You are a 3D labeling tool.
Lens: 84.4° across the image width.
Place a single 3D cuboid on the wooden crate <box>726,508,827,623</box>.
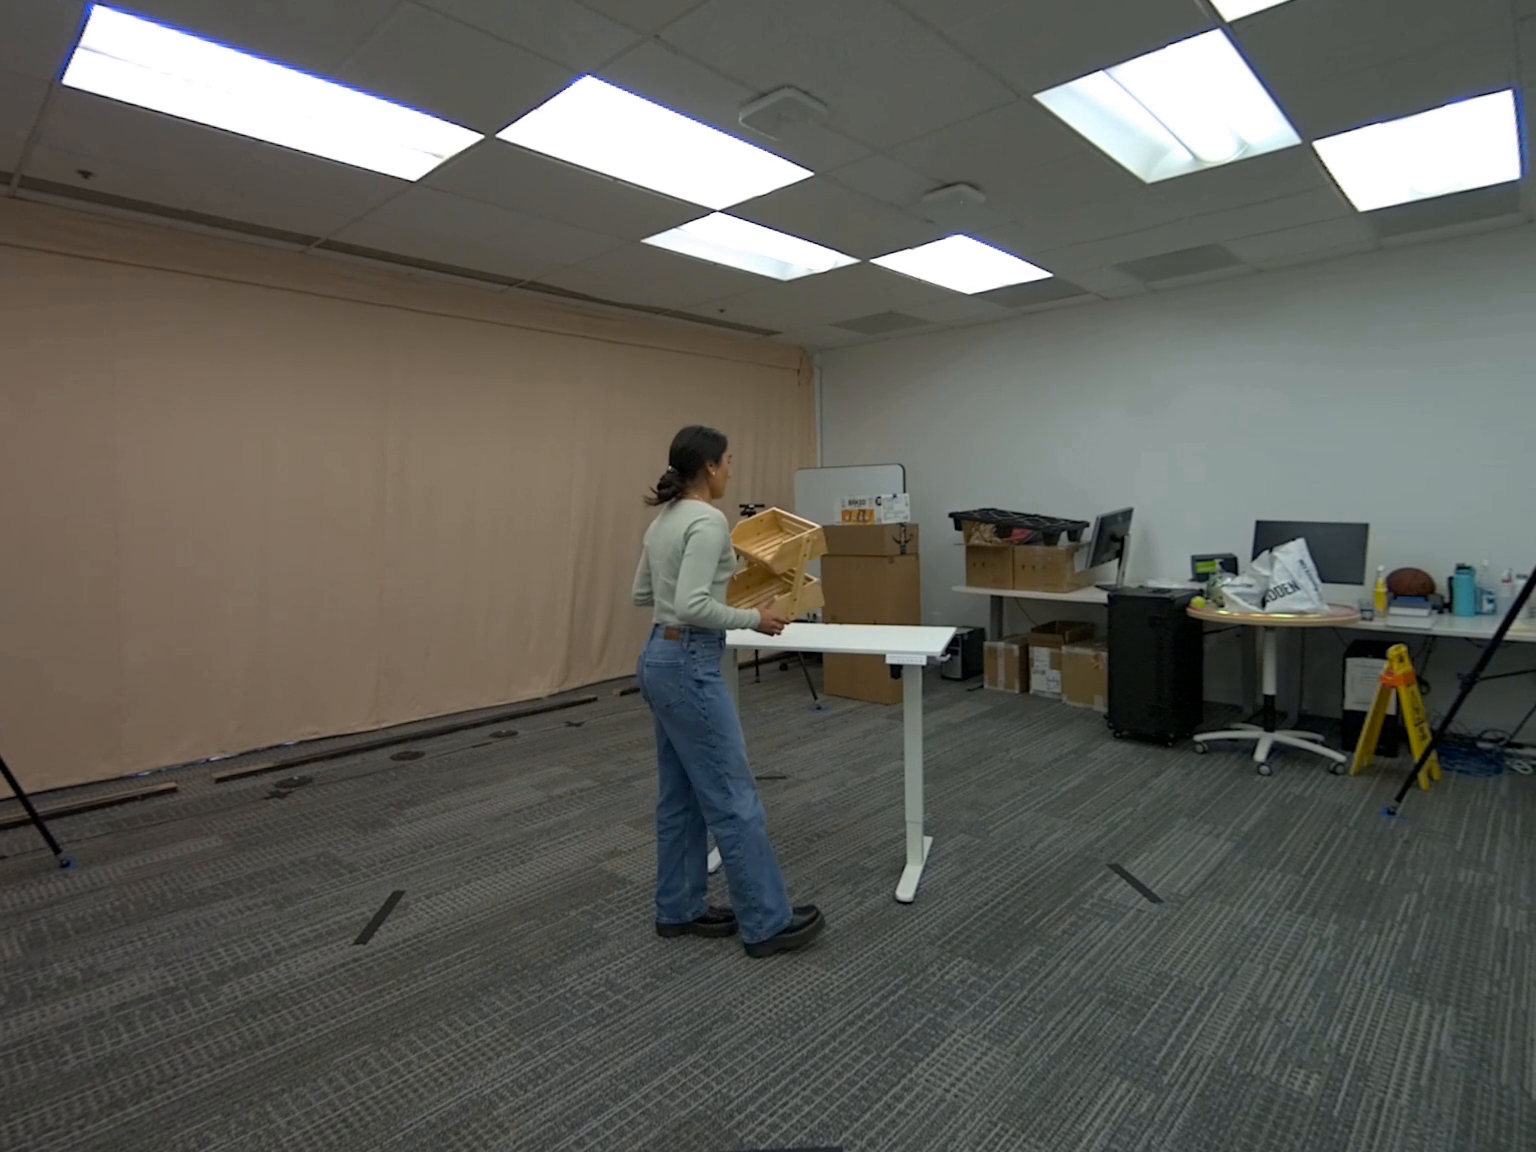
[{"bbox_3d":[-0.001,-0.026,2.759,0.297,0.268,0.335,-25,25,-22],"label":"wooden crate"}]
